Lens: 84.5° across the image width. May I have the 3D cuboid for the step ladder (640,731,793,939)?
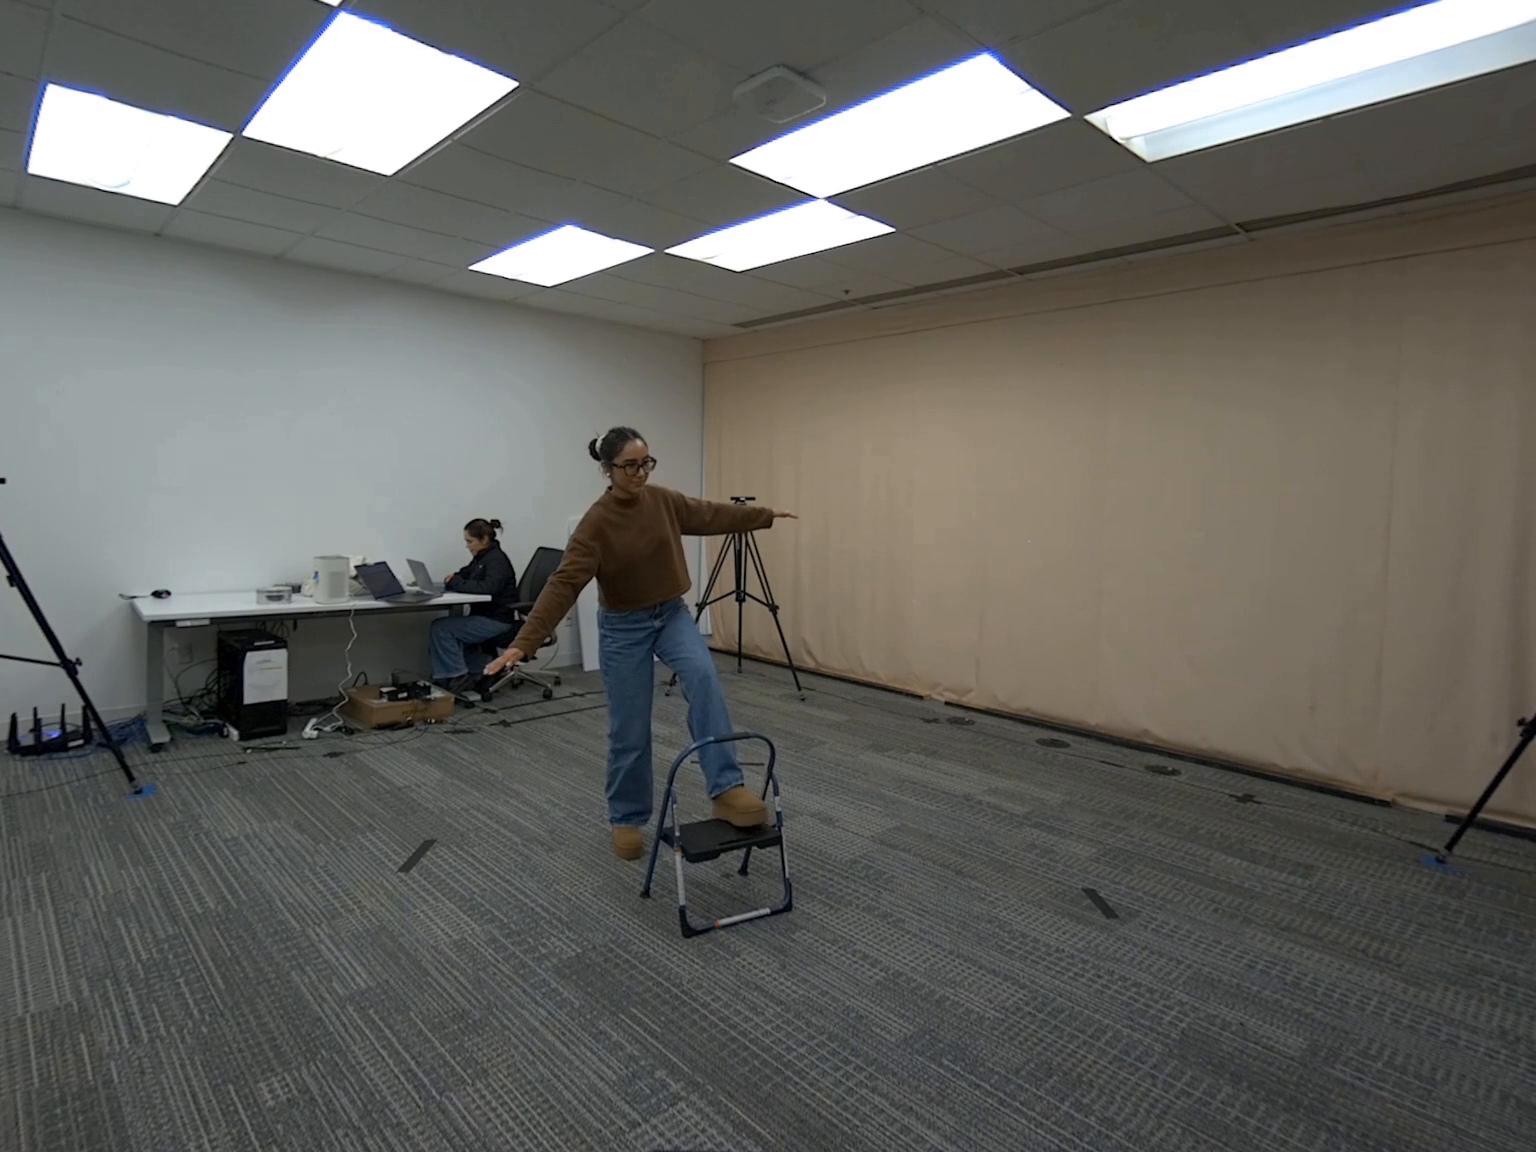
[{"bbox_3d":[-0.176,0.823,2.880,0.421,0.604,0.357,0,4,-32],"label":"step ladder"}]
